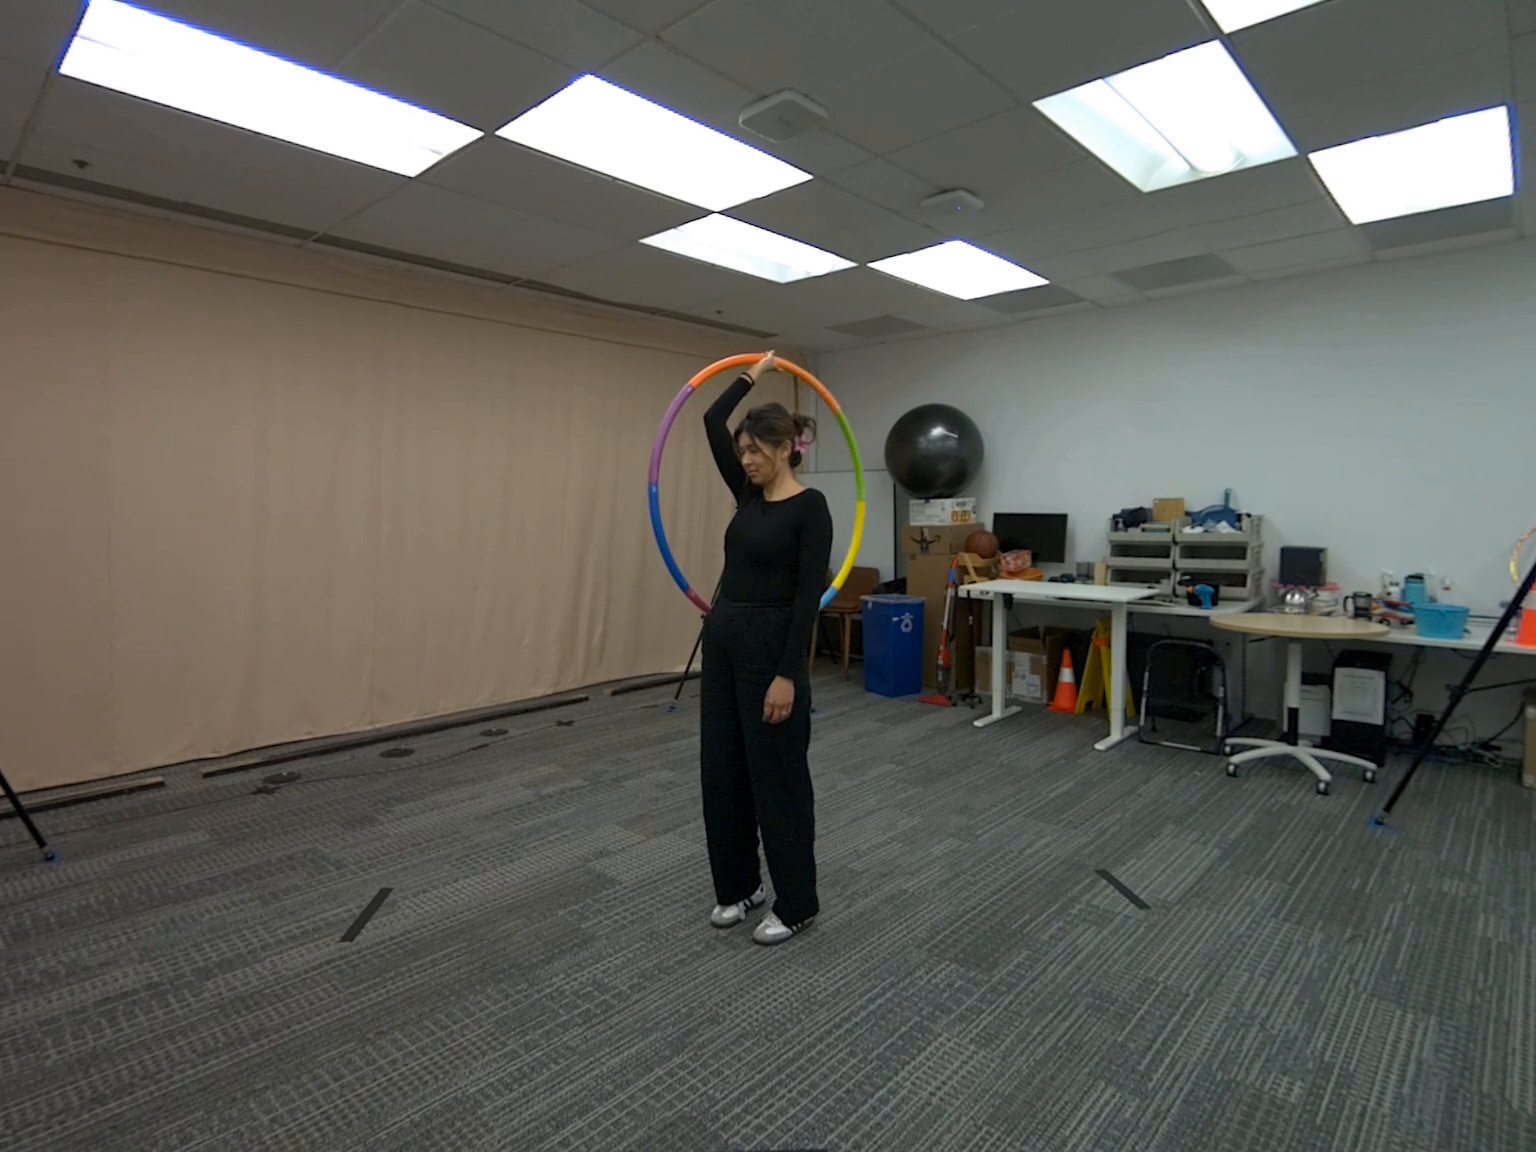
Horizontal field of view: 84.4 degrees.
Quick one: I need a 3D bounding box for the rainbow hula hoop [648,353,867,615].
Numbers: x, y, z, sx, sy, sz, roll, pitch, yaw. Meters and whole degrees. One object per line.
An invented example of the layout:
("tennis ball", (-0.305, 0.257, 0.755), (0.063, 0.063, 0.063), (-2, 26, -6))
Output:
("rainbow hula hoop", (0.008, -0.299, 3.032), (0.956, 0.984, 0.053), (-3, 1, -36))
